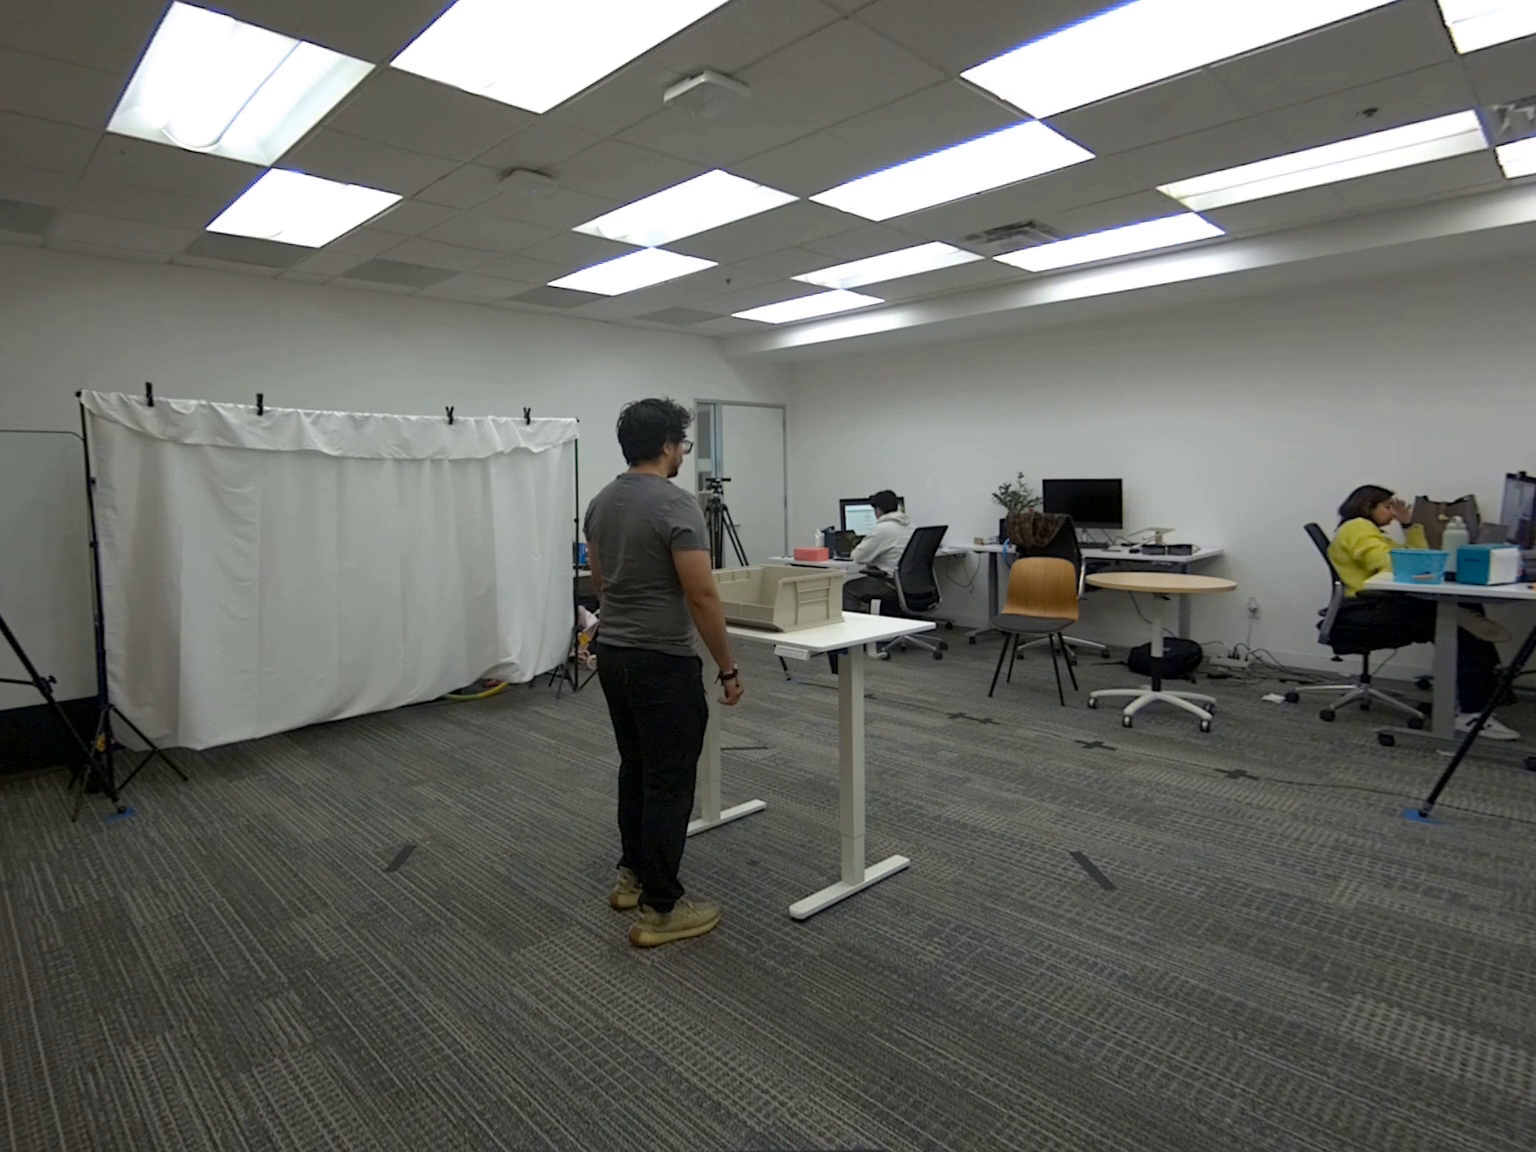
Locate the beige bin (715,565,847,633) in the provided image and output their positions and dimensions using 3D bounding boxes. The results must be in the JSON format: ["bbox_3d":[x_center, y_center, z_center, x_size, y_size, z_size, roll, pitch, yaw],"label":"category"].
[{"bbox_3d":[0.004,0.076,3.043,0.367,0.188,0.435,-5,6,-44],"label":"beige bin"}]
